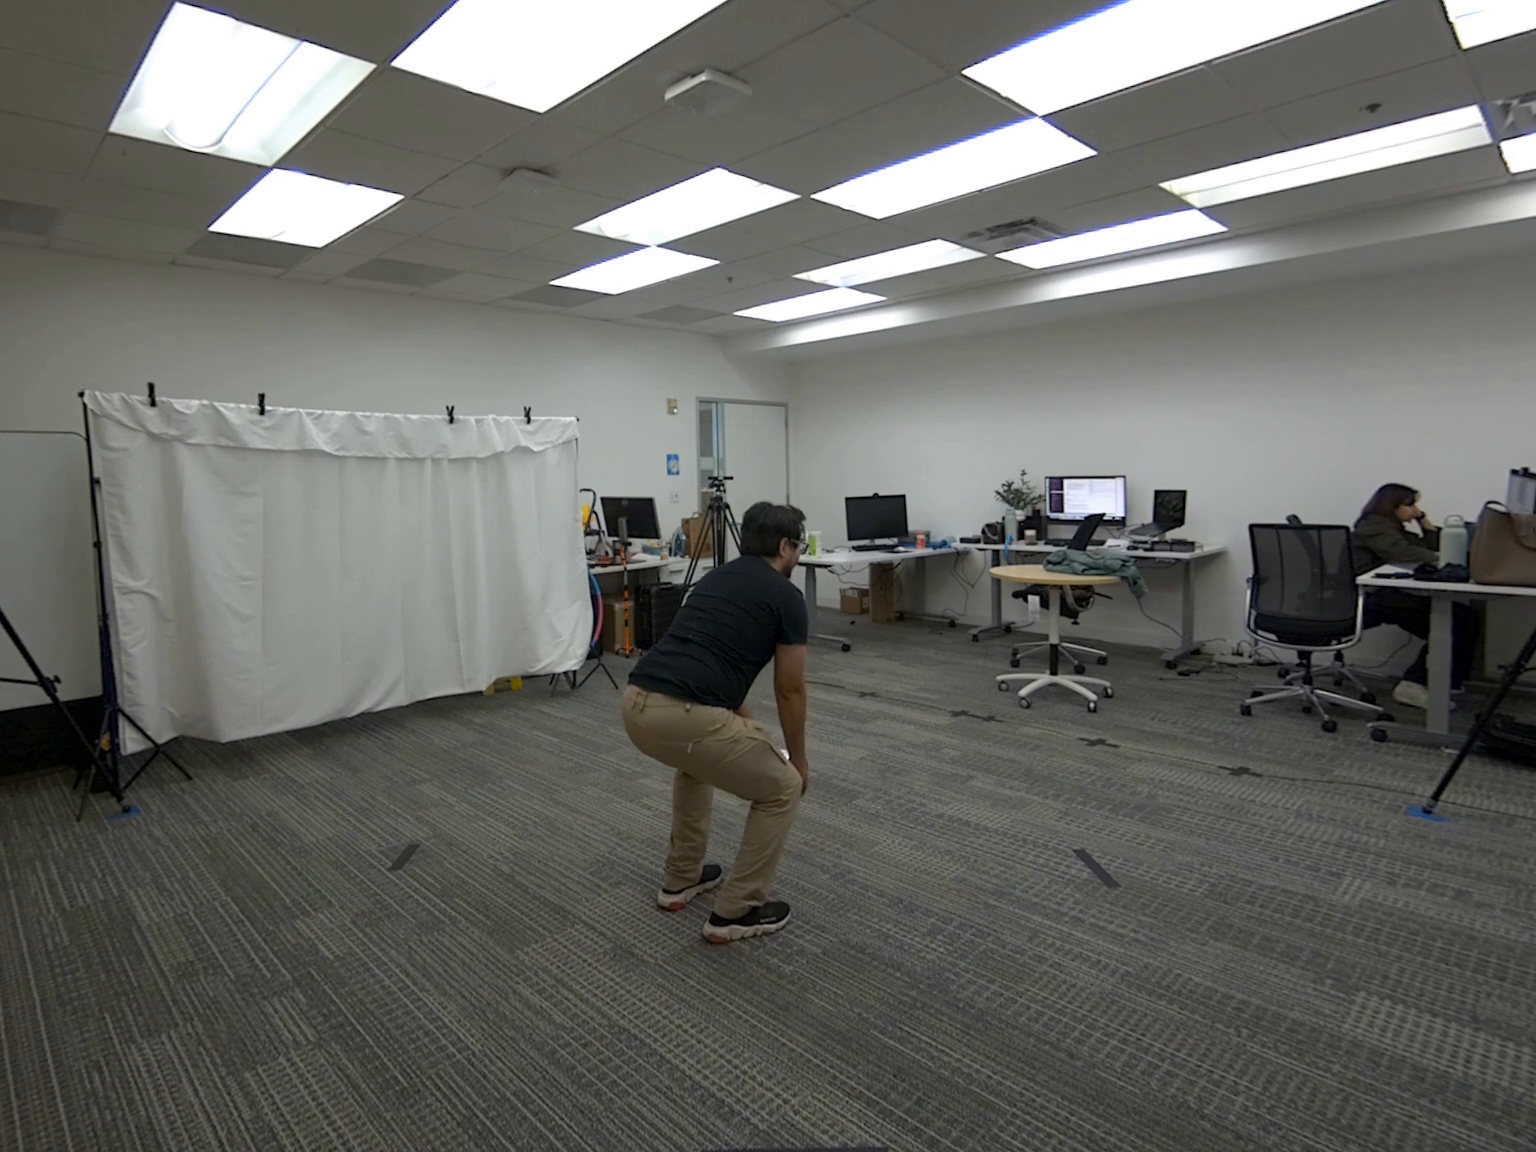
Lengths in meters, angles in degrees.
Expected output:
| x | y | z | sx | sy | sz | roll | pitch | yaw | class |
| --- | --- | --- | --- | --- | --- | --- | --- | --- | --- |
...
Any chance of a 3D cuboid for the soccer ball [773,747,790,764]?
| x | y | z | sx | sy | sz | roll | pitch | yaw | class |
| --- | --- | --- | --- | --- | --- | --- | --- | --- | --- |
| 0.051 | 0.687 | 2.918 | 0.187 | 0.187 | 0.188 | -1 | 5 | -2 | soccer ball |
